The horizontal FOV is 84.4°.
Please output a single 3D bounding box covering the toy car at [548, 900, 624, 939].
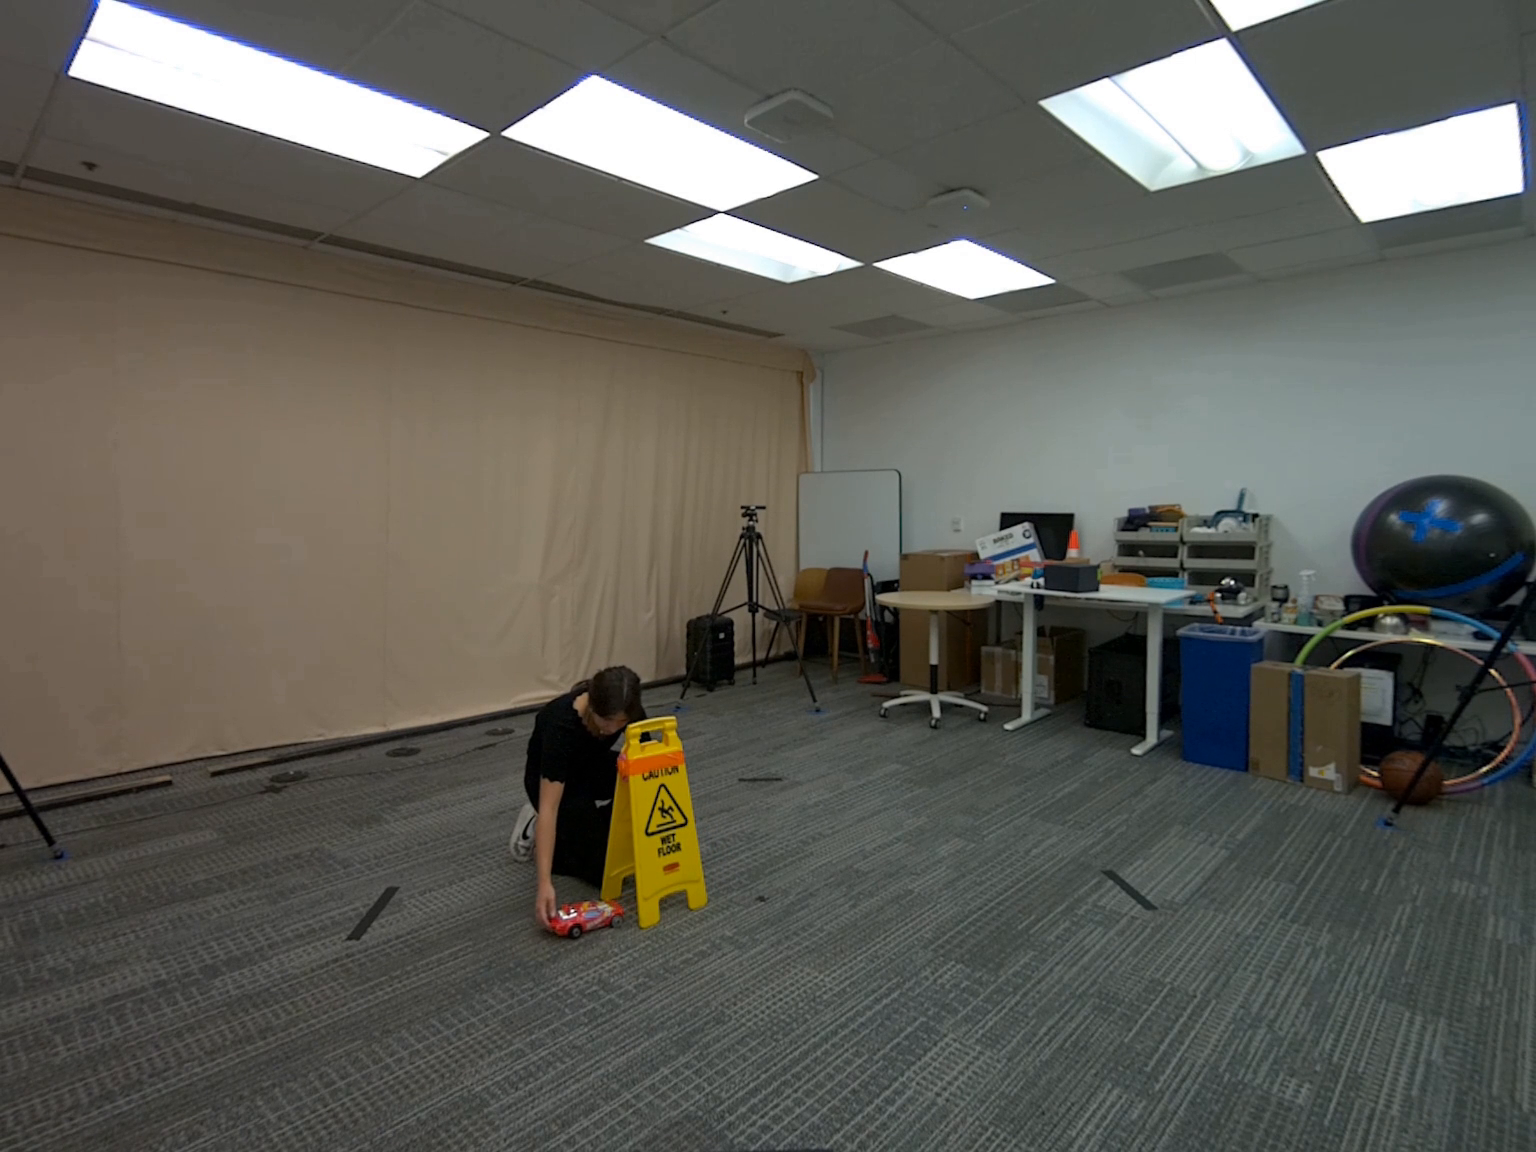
[{"bbox_3d":[-0.601,1.128,2.790,0.246,0.083,0.134,12,-4,-33],"label":"toy car"}]
